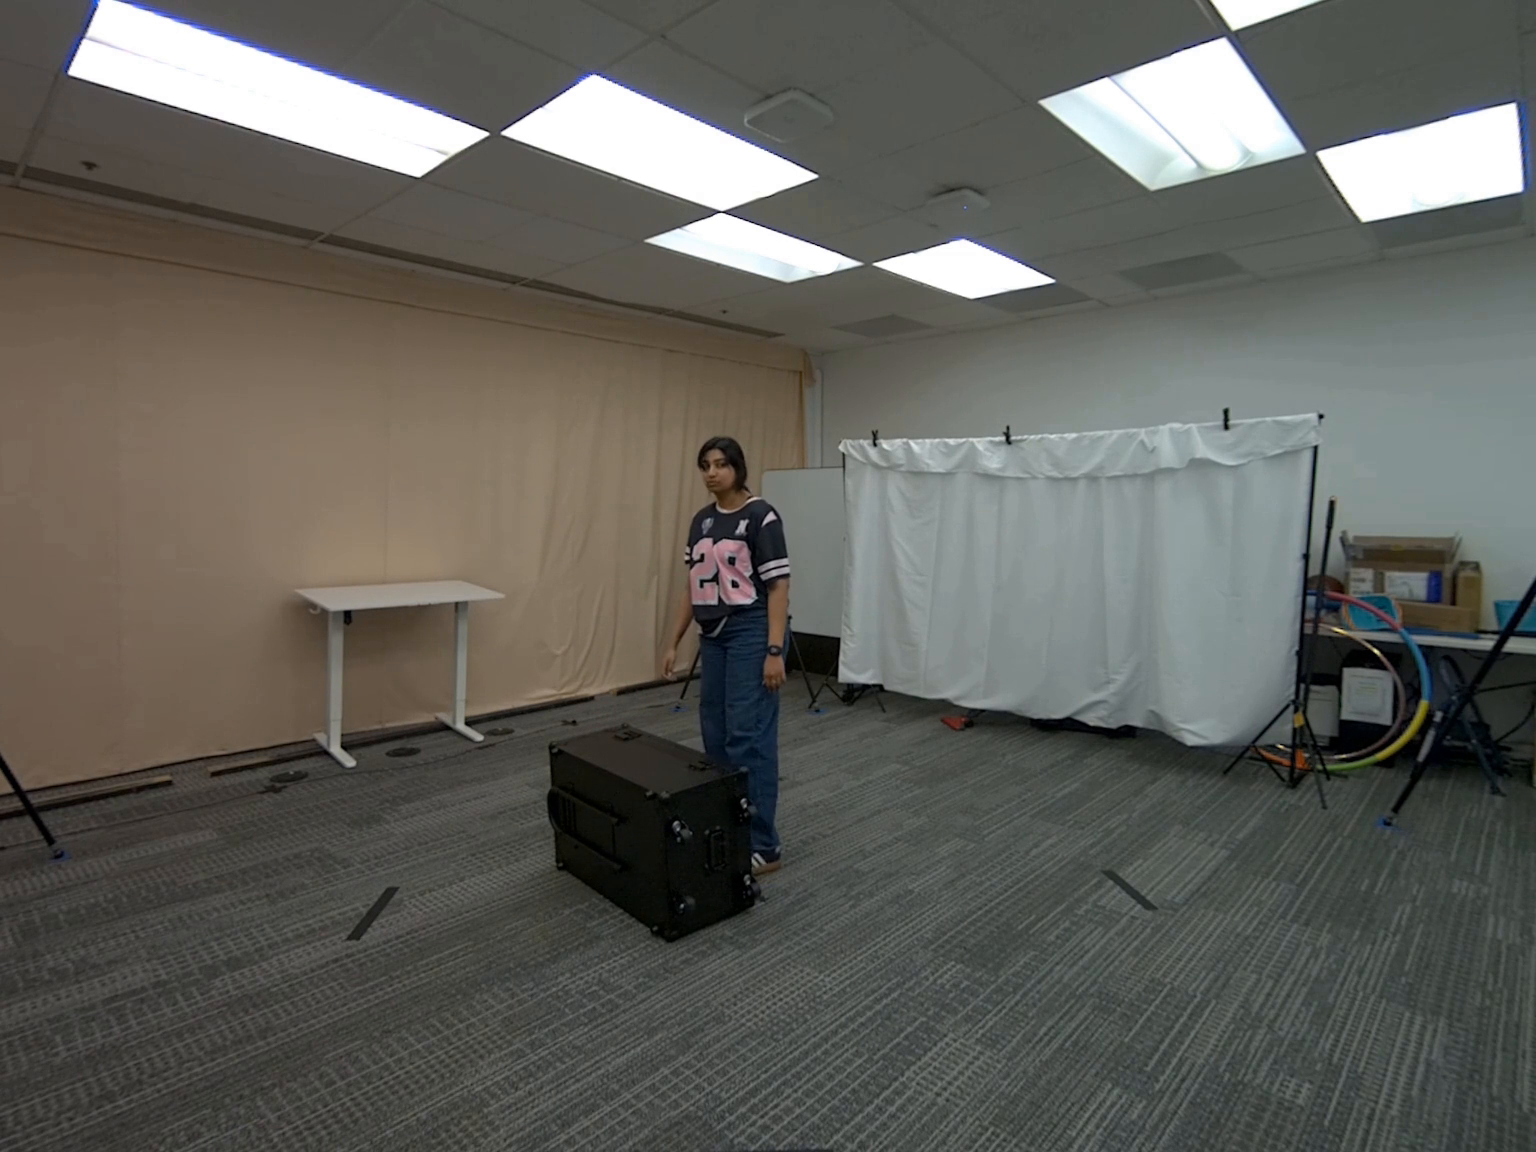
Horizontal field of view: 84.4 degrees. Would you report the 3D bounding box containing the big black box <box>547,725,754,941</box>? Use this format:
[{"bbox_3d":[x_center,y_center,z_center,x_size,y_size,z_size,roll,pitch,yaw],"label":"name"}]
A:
[{"bbox_3d":[-0.429,0.886,3.037,0.374,0.522,0.897,-4,6,-40],"label":"big black box"}]
